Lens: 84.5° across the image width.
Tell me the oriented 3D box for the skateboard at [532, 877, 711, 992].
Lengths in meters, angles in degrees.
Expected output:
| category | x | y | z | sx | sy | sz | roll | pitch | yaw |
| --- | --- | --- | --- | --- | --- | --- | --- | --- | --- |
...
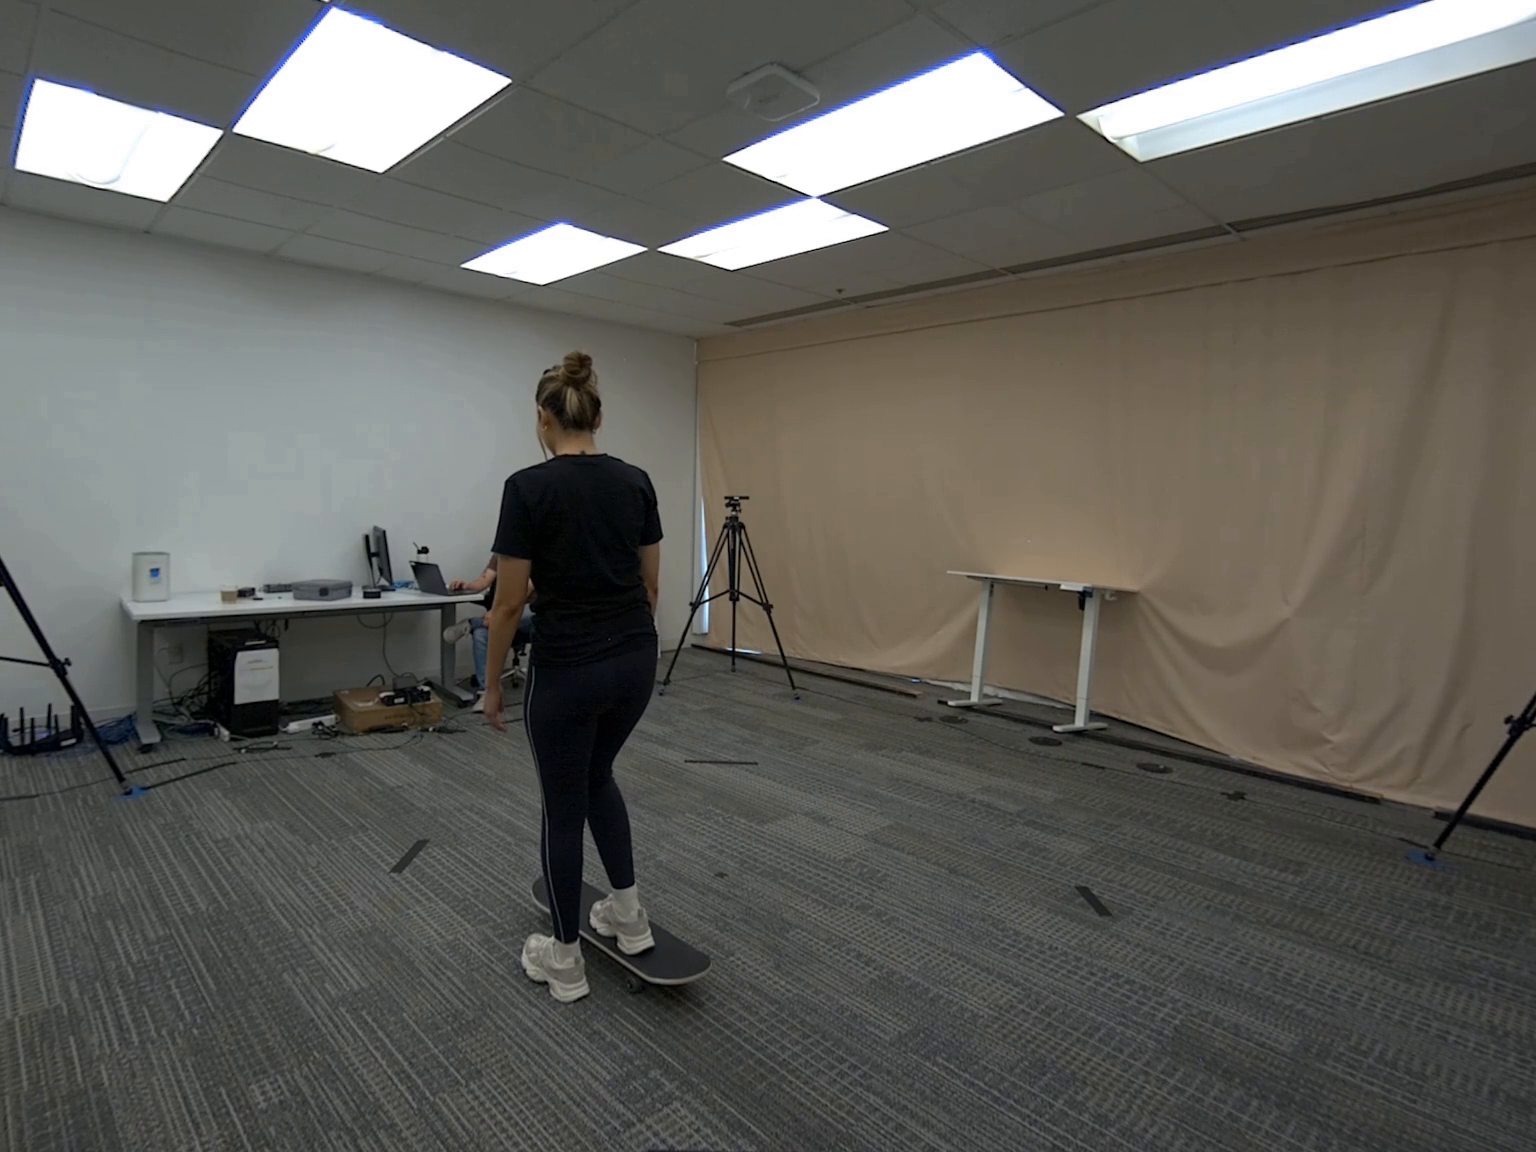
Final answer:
| category | x | y | z | sx | sy | sz | roll | pitch | yaw |
| --- | --- | --- | --- | --- | --- | --- | --- | --- | --- |
| skateboard | -0.471 | 1.098 | 2.541 | 0.189 | 0.110 | 0.806 | -4 | 7 | -45 |
